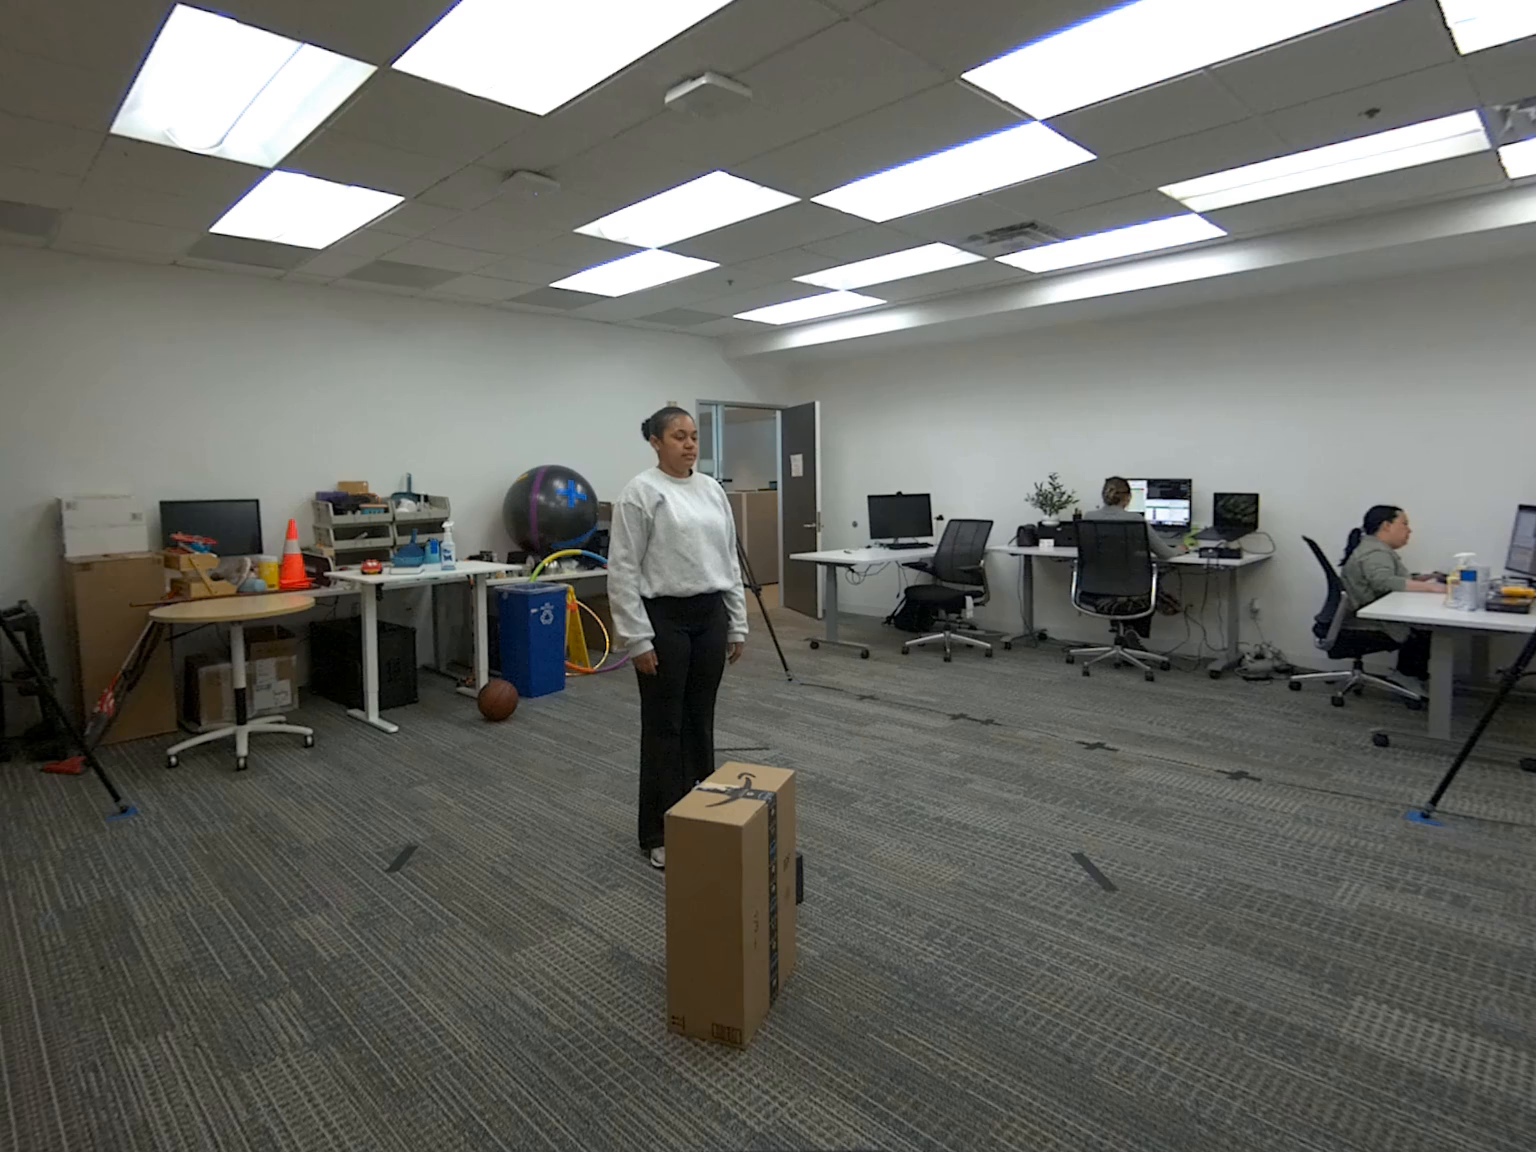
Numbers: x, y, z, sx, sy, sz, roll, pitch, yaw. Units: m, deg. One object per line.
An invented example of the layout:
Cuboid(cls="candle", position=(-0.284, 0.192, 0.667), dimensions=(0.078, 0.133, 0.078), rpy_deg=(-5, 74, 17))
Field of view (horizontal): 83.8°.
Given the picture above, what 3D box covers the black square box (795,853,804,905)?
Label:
Cuboid(cls="black square box", position=(-0.028, 0.996, 2.832), dimensions=(0.222, 0.155, 0.224), rpy_deg=(-6, 8, -38))
